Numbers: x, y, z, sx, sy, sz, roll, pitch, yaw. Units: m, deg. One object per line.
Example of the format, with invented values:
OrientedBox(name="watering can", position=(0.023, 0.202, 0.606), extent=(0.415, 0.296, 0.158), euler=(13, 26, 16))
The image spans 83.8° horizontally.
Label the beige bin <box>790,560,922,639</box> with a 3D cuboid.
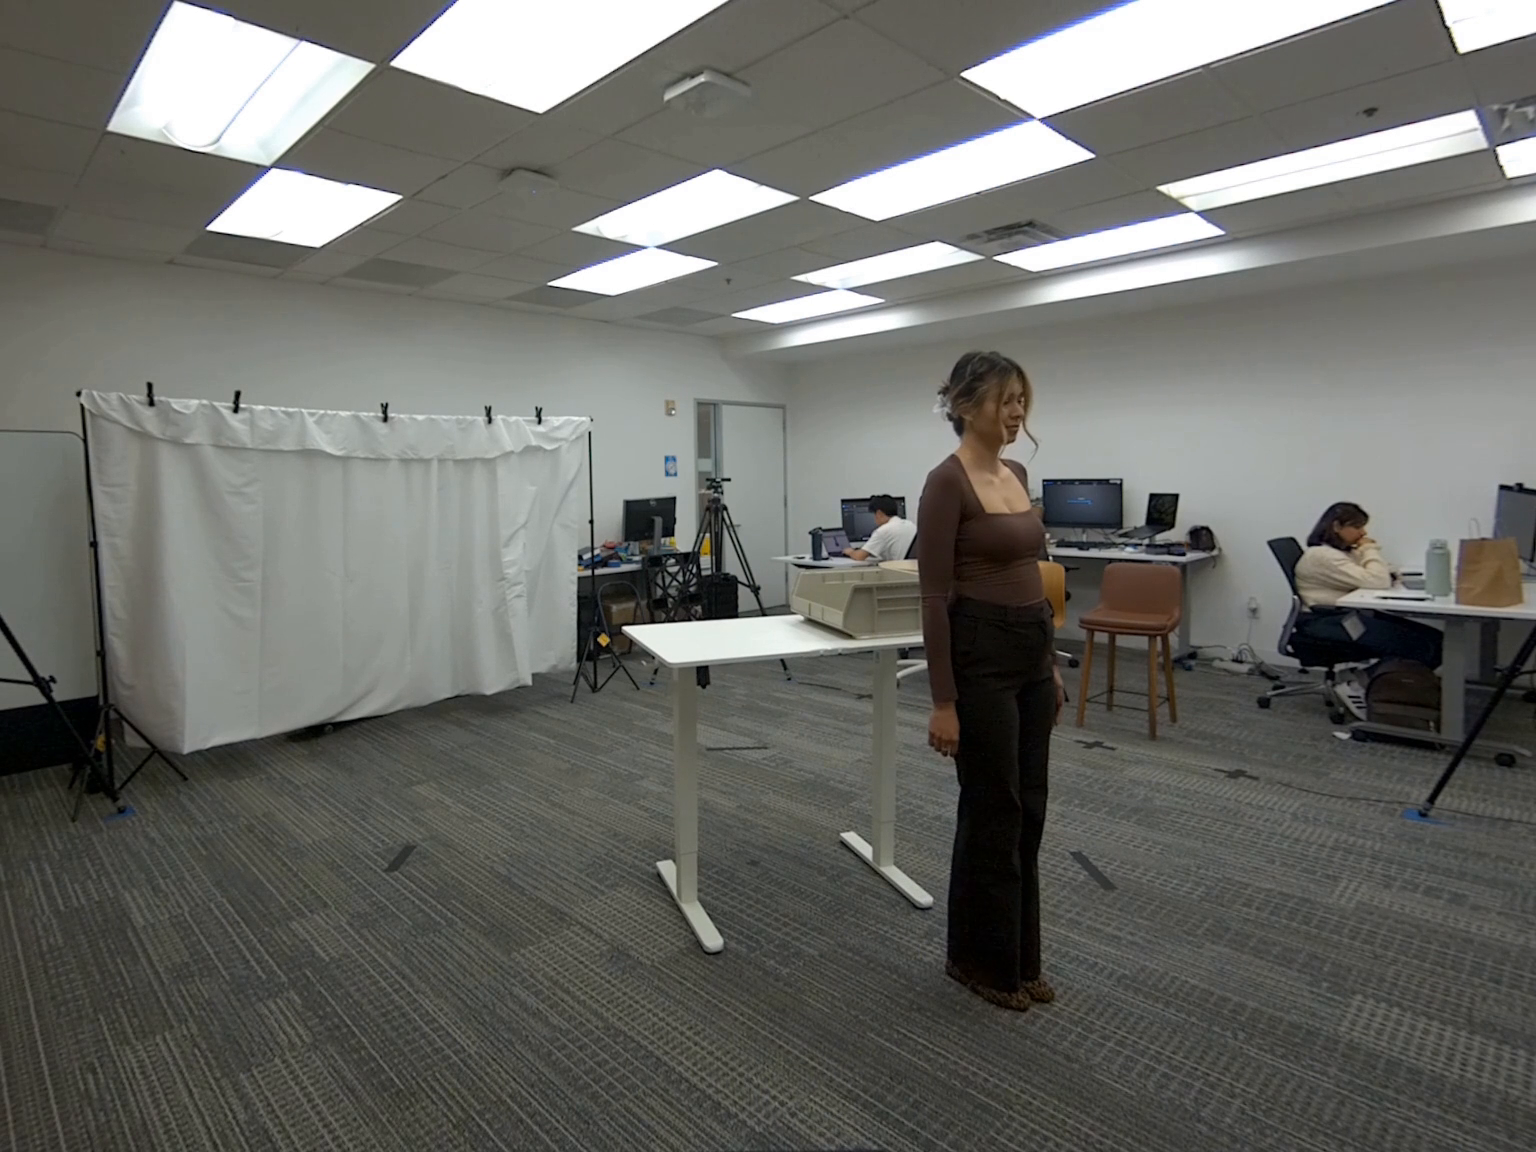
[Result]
OrientedBox(name="beige bin", position=(0.336, 0.088, 2.921), extent=(0.370, 0.188, 0.432), euler=(-1, 5, -21))
